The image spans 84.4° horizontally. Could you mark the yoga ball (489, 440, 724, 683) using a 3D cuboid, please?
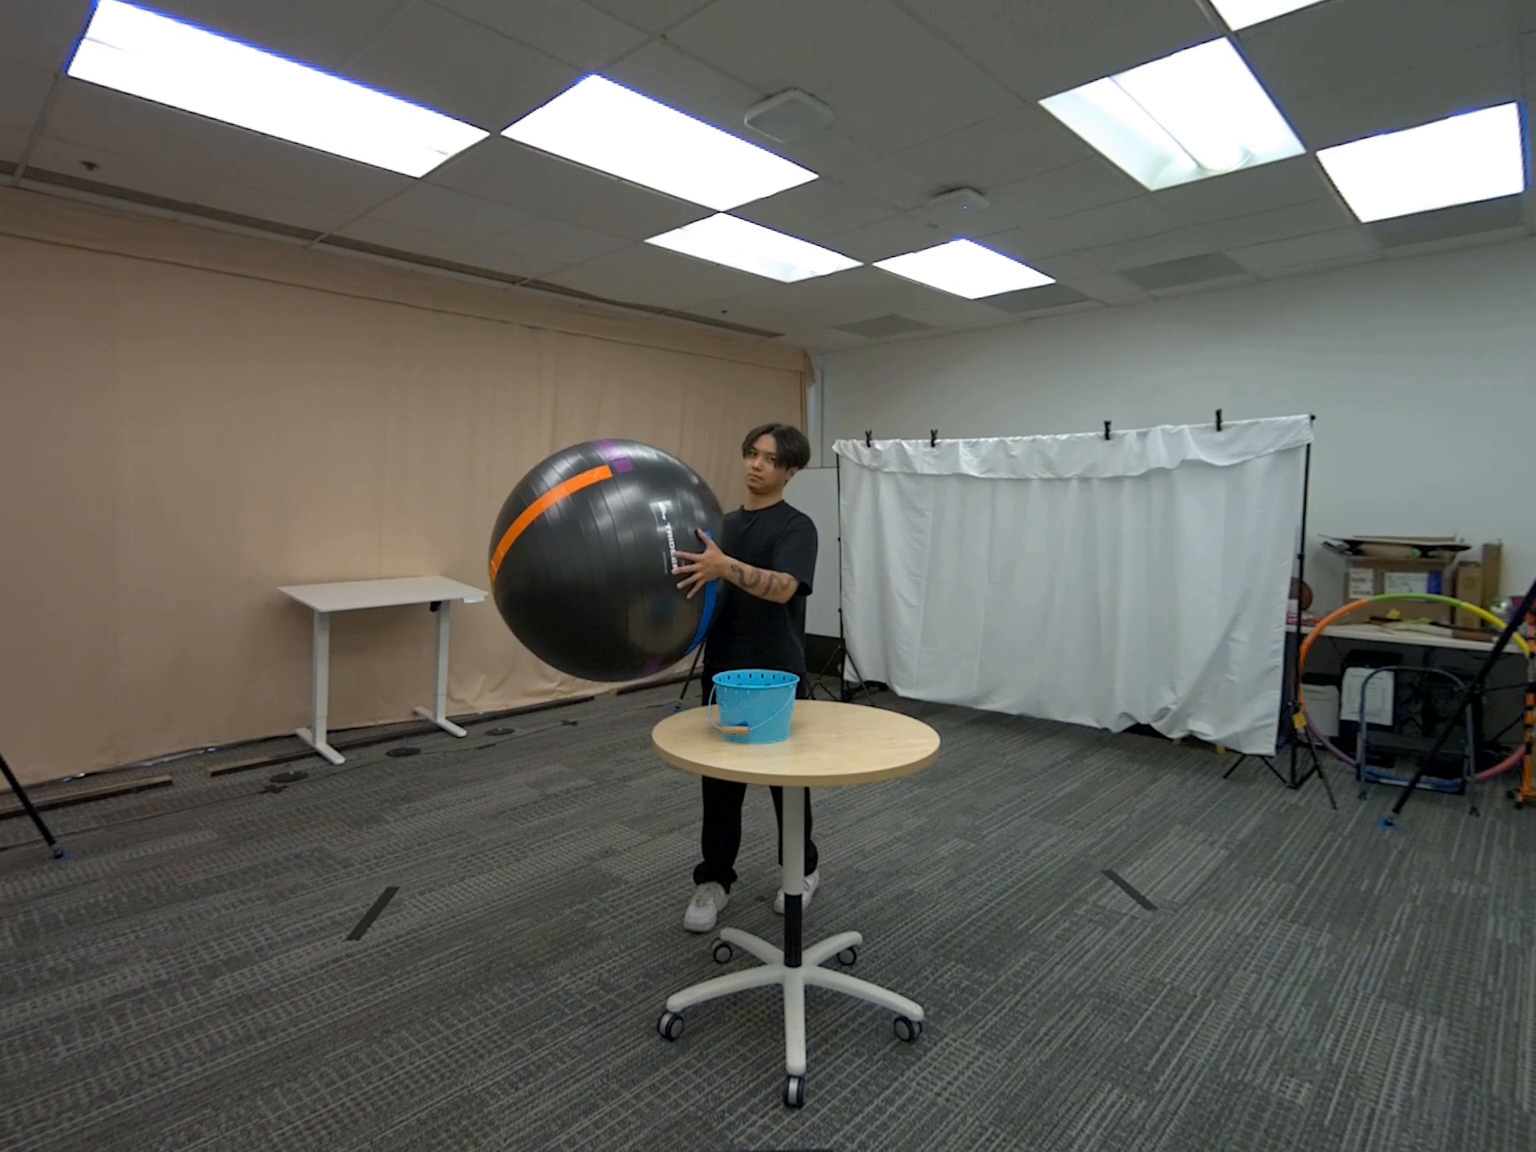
[{"bbox_3d":[-0.493,-0.043,2.652,0.757,0.756,0.760,0,4,-2],"label":"yoga ball"}]
